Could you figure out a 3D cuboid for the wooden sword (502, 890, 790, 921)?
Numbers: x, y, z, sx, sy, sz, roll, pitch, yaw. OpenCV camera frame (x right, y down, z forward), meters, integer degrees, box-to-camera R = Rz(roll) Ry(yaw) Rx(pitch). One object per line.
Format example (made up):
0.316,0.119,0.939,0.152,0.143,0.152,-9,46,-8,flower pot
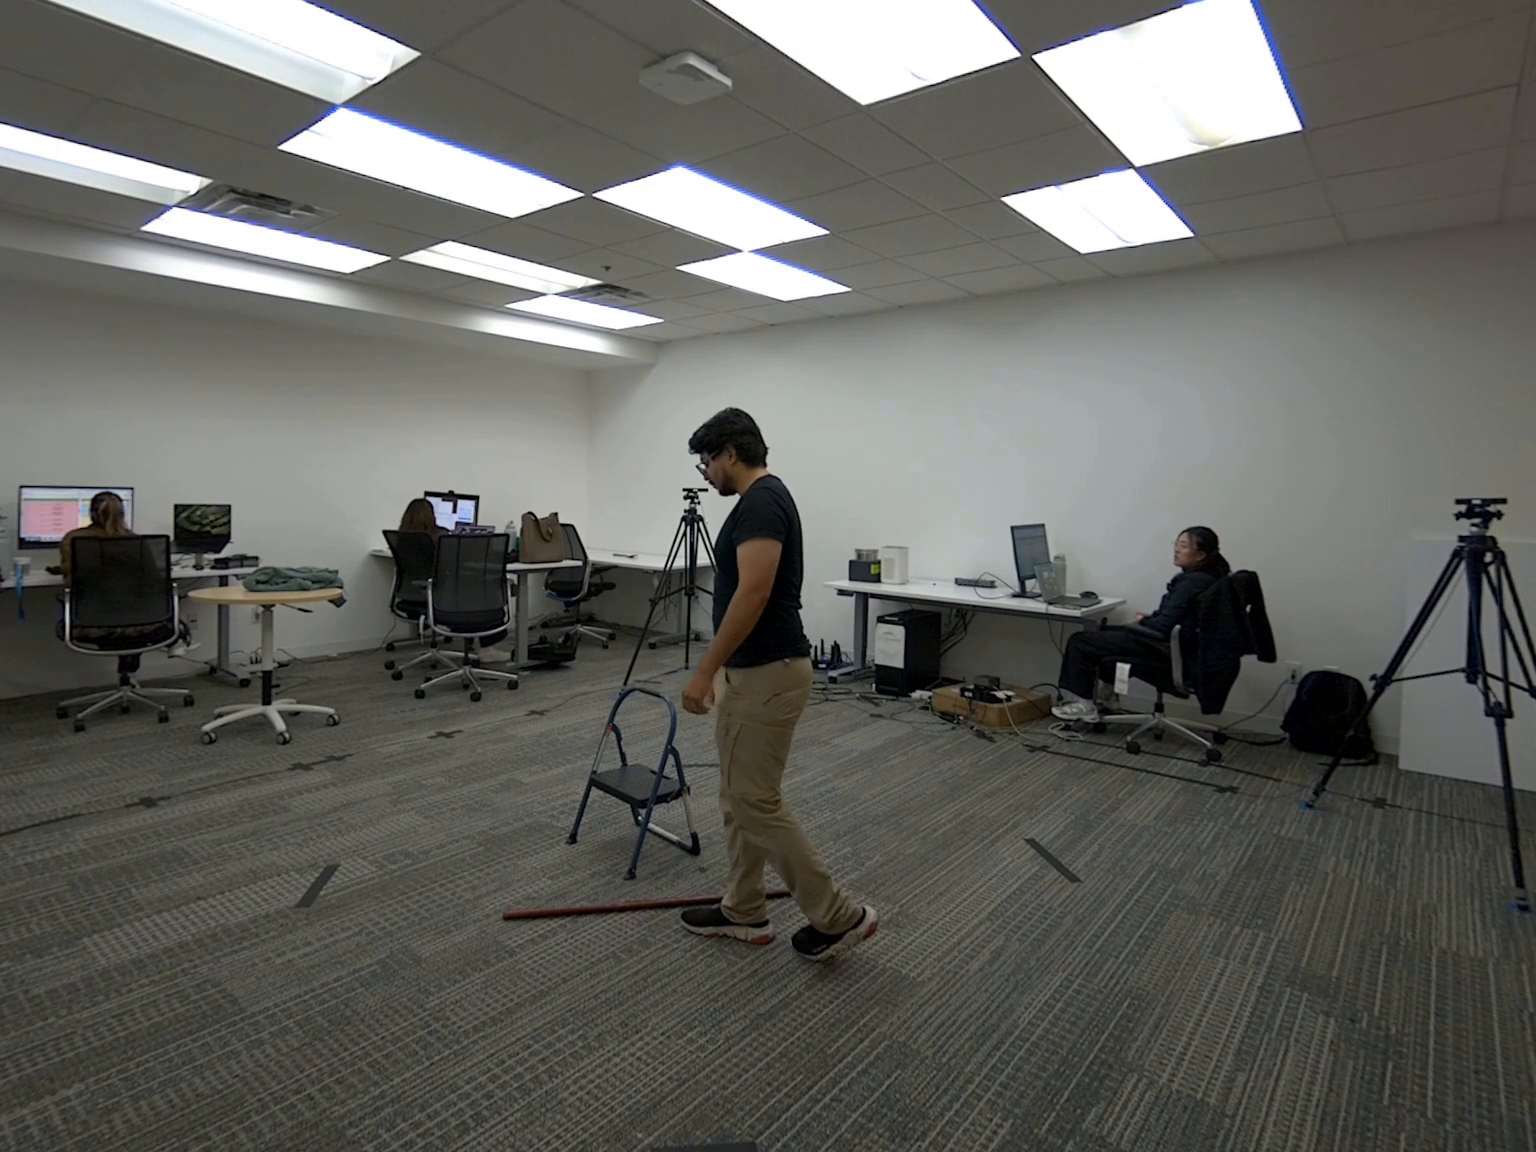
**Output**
-0.356,1.071,2.823,1.012,0.024,0.051,0,-4,-11,wooden sword
